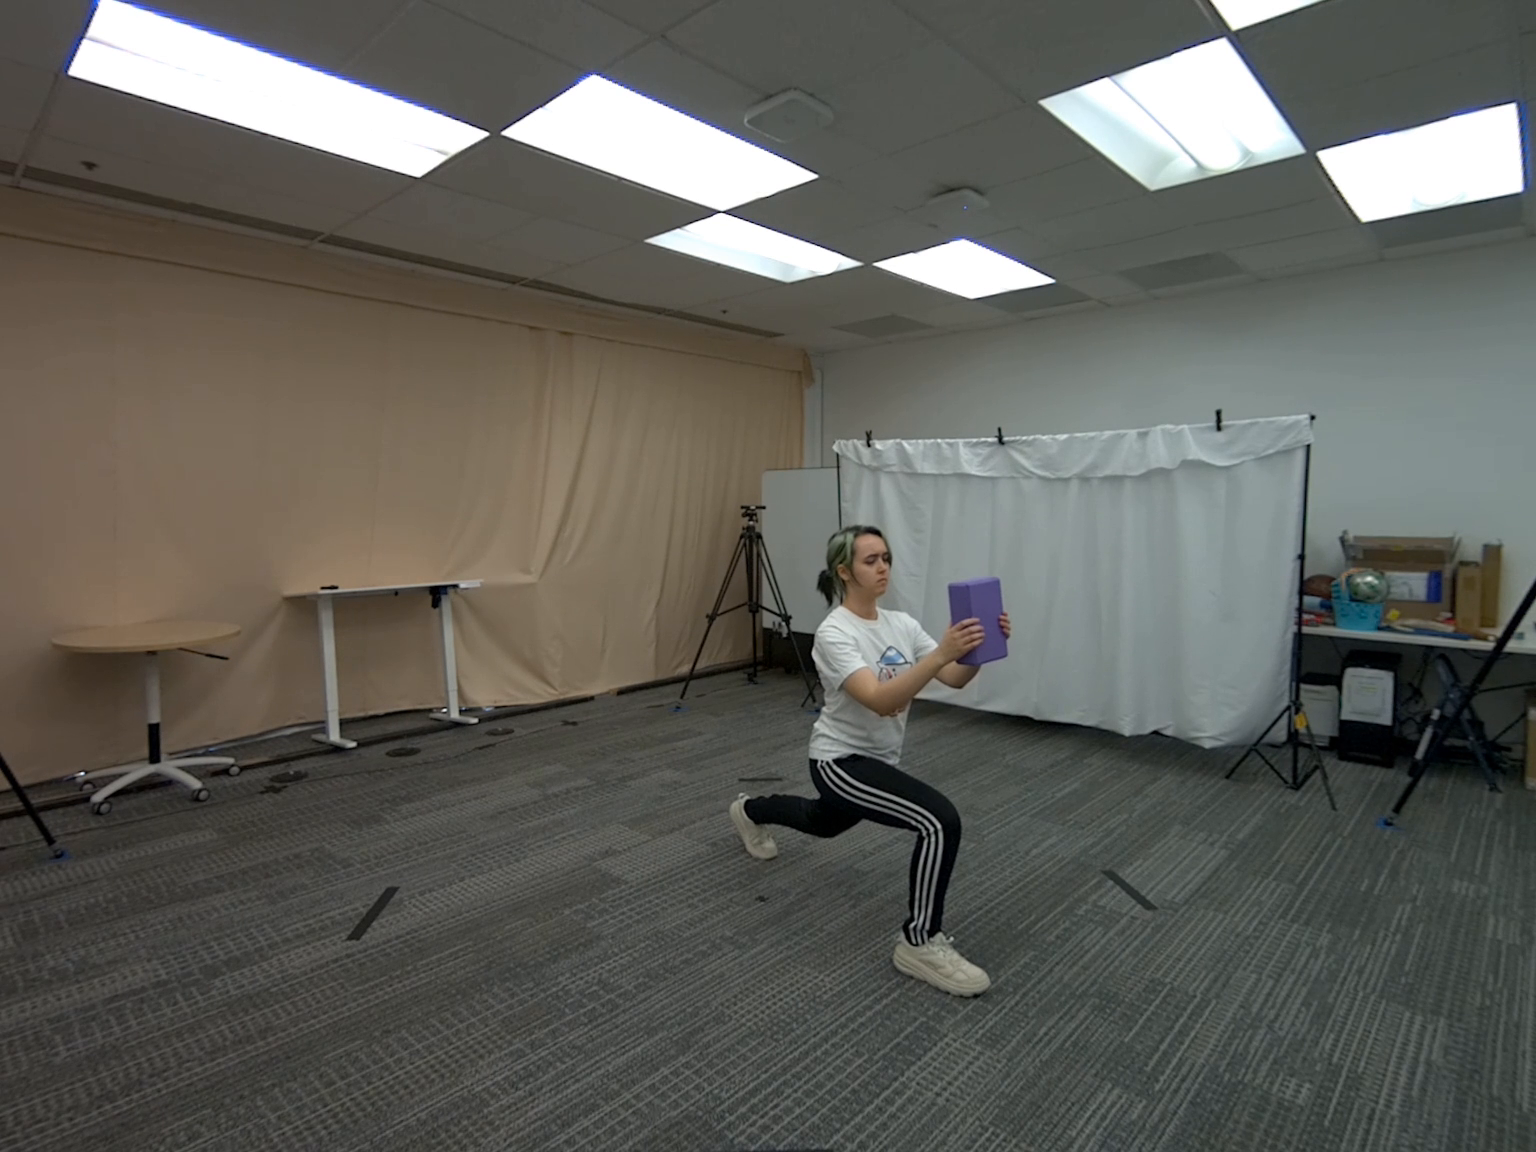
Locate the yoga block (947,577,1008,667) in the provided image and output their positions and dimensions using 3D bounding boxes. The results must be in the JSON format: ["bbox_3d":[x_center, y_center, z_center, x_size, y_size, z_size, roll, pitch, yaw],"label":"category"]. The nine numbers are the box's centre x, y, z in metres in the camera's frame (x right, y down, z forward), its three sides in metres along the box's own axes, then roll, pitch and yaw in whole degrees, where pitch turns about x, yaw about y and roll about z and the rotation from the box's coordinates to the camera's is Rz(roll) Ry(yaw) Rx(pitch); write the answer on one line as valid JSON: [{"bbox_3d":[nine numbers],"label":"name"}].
[{"bbox_3d":[0.596,0.130,2.362,0.145,0.228,0.079,-9,5,-34],"label":"yoga block"}]
